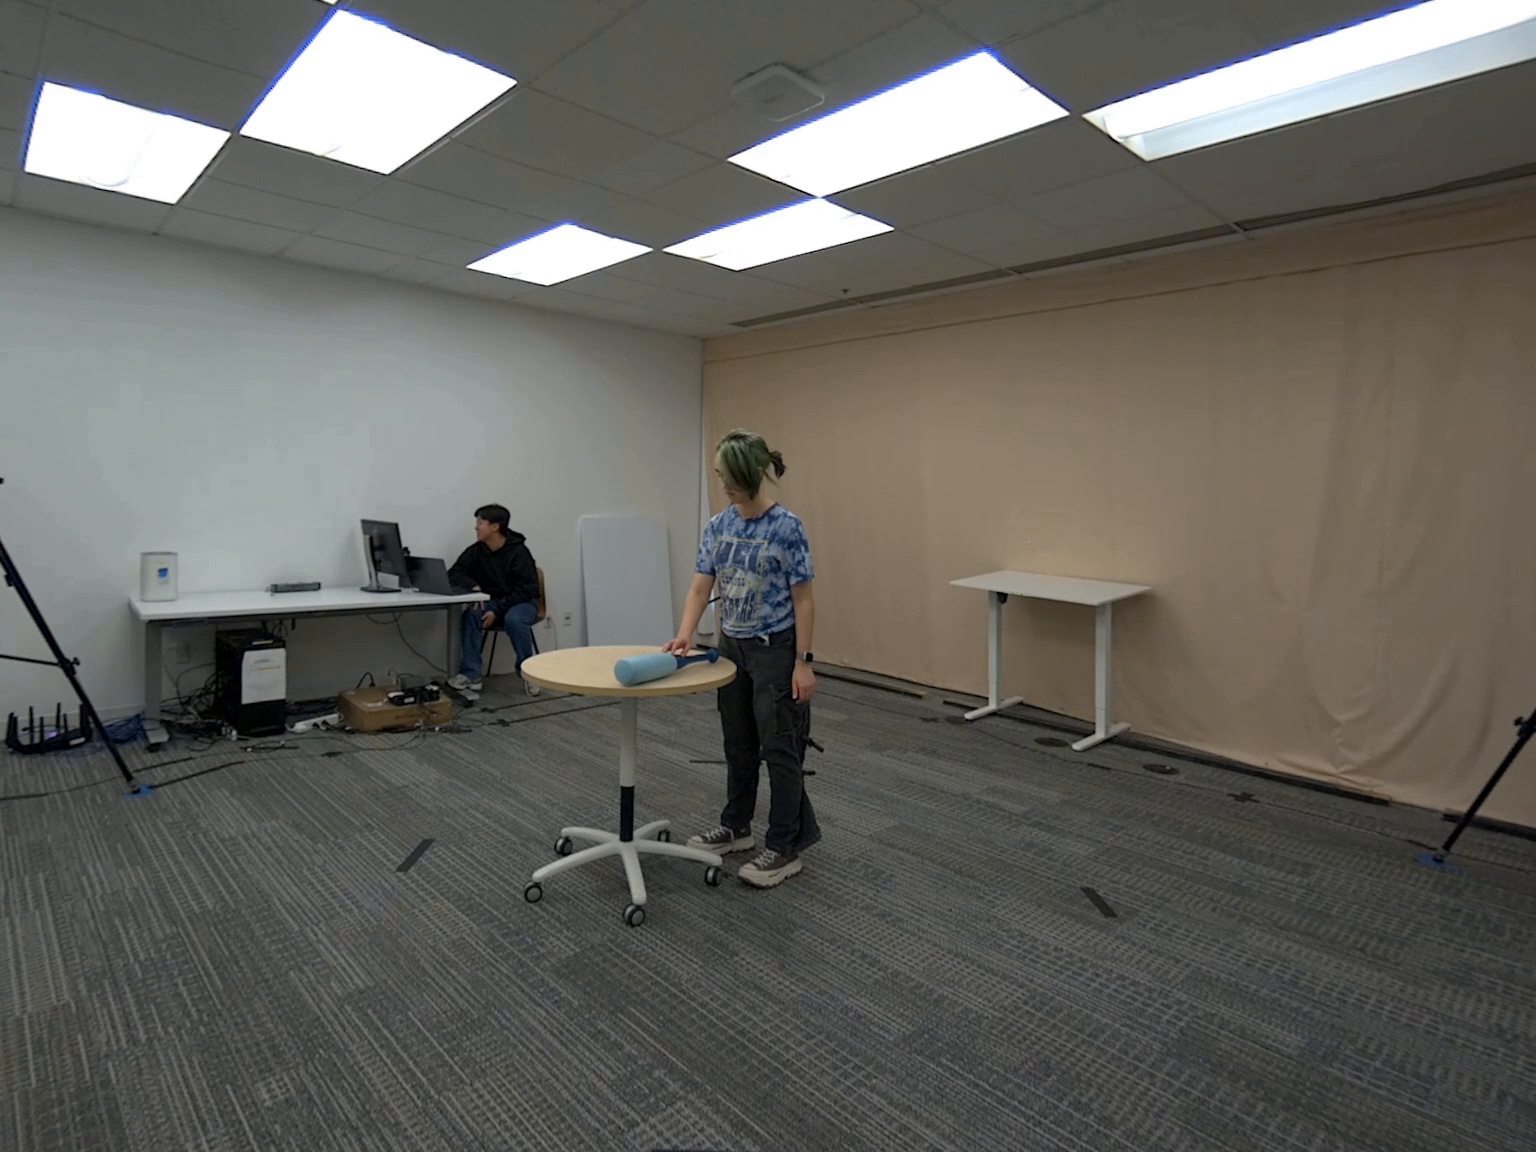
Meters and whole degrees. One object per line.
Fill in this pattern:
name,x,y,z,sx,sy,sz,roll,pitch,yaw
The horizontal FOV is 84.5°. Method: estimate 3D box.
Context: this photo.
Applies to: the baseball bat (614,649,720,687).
baseball bat,-0.336,0.303,2.875,0.091,0.089,0.532,4,3,29
